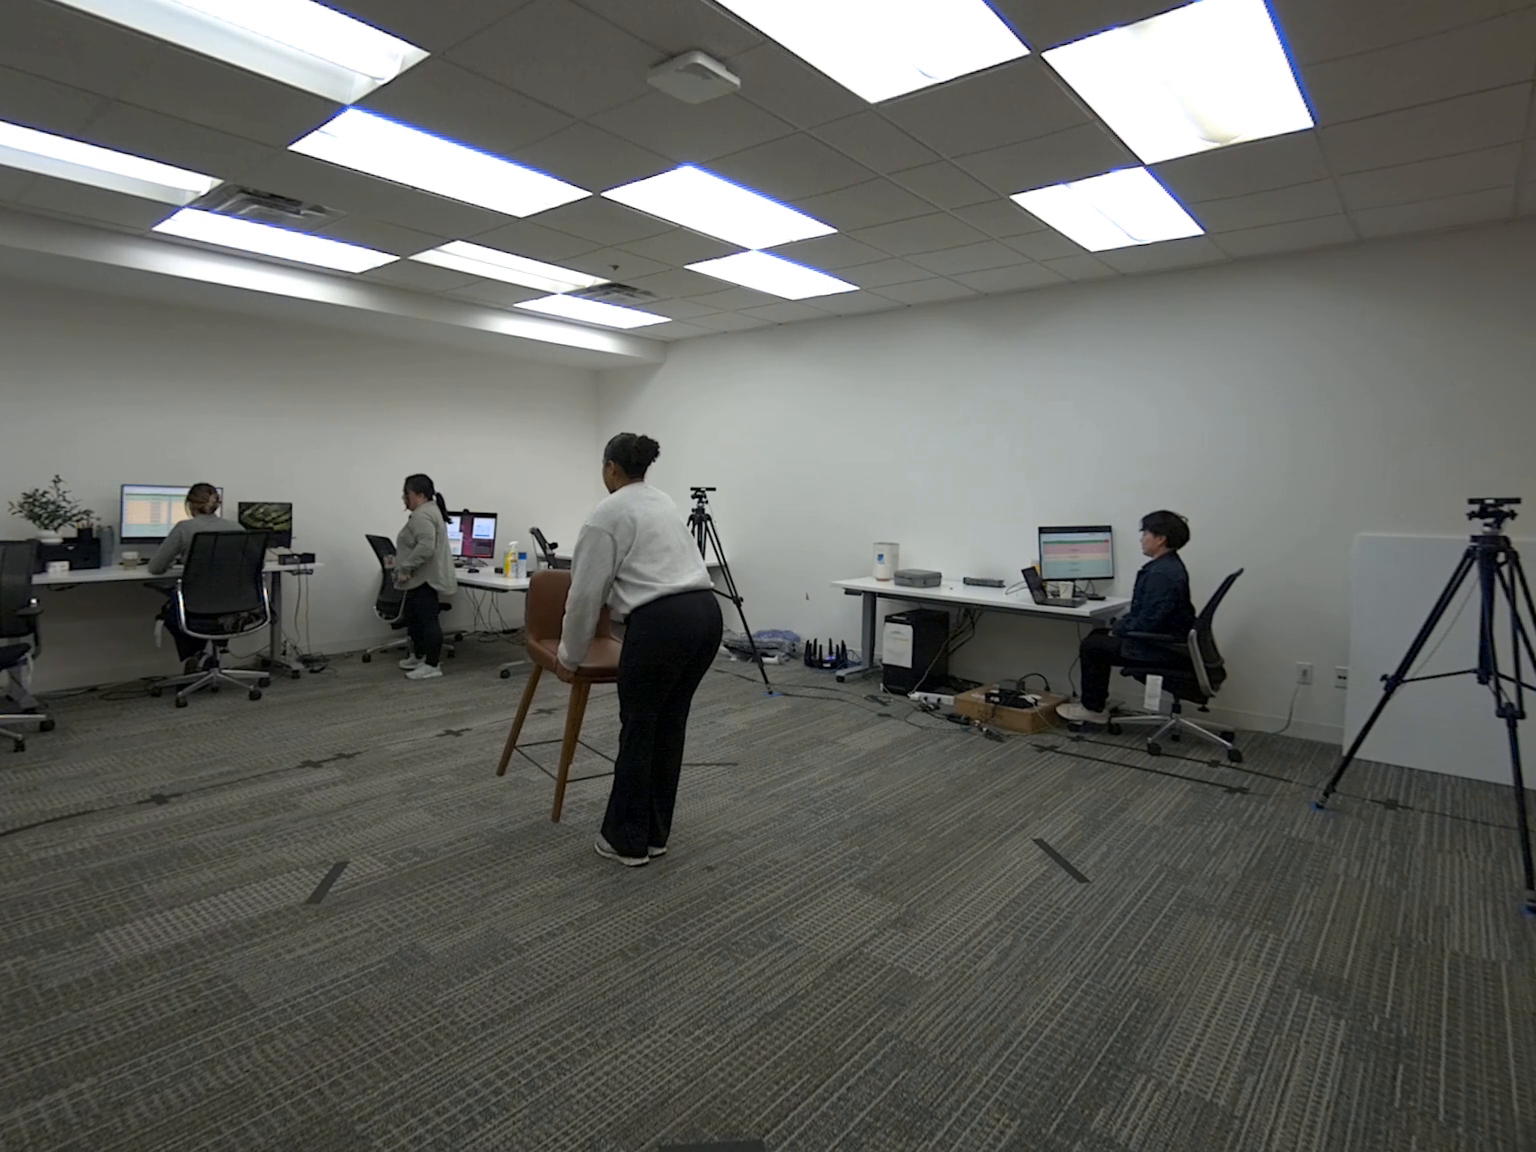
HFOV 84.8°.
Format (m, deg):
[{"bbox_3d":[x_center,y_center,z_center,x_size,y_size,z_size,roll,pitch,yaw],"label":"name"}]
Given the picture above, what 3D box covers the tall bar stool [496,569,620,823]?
[{"bbox_3d":[-0.771,0.458,3.453,0.485,0.886,0.441,15,7,42],"label":"tall bar stool"}]
